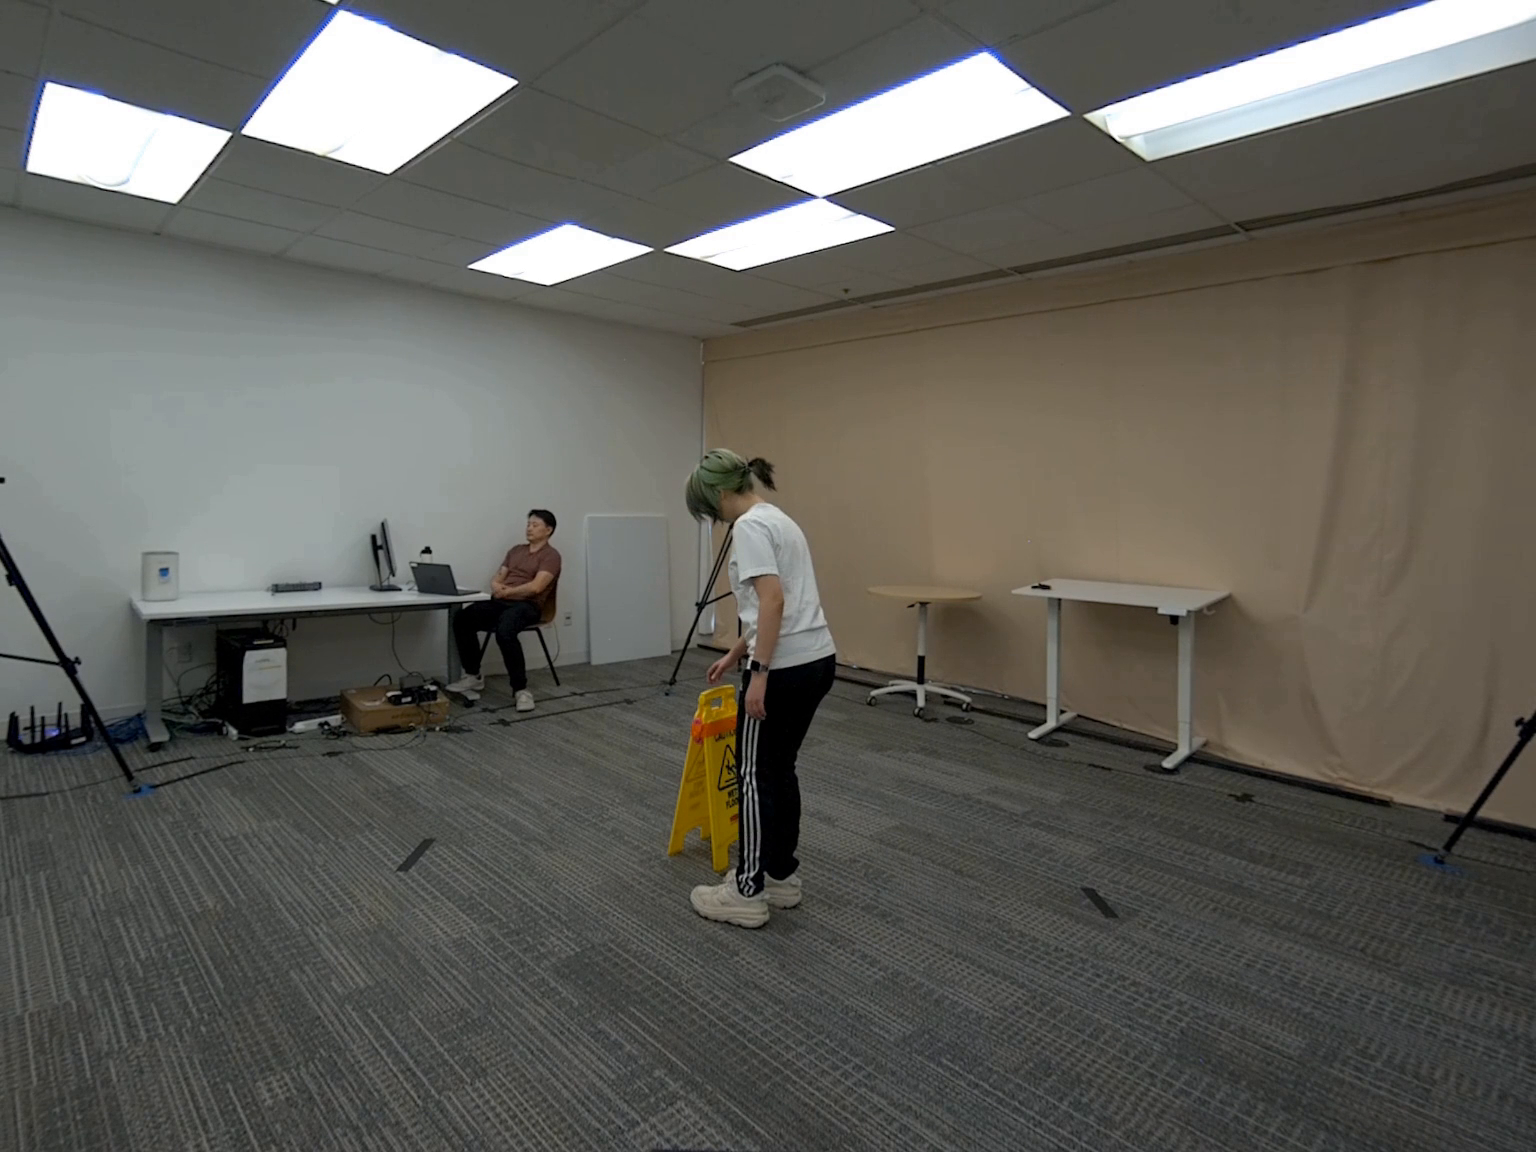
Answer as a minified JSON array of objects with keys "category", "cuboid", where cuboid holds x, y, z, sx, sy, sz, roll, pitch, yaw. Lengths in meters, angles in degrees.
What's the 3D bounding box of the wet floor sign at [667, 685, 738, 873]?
[{"category":"wet floor sign","cuboid":[-0.215,0.760,3.286,0.296,0.645,0.276,2,2,36]}]
